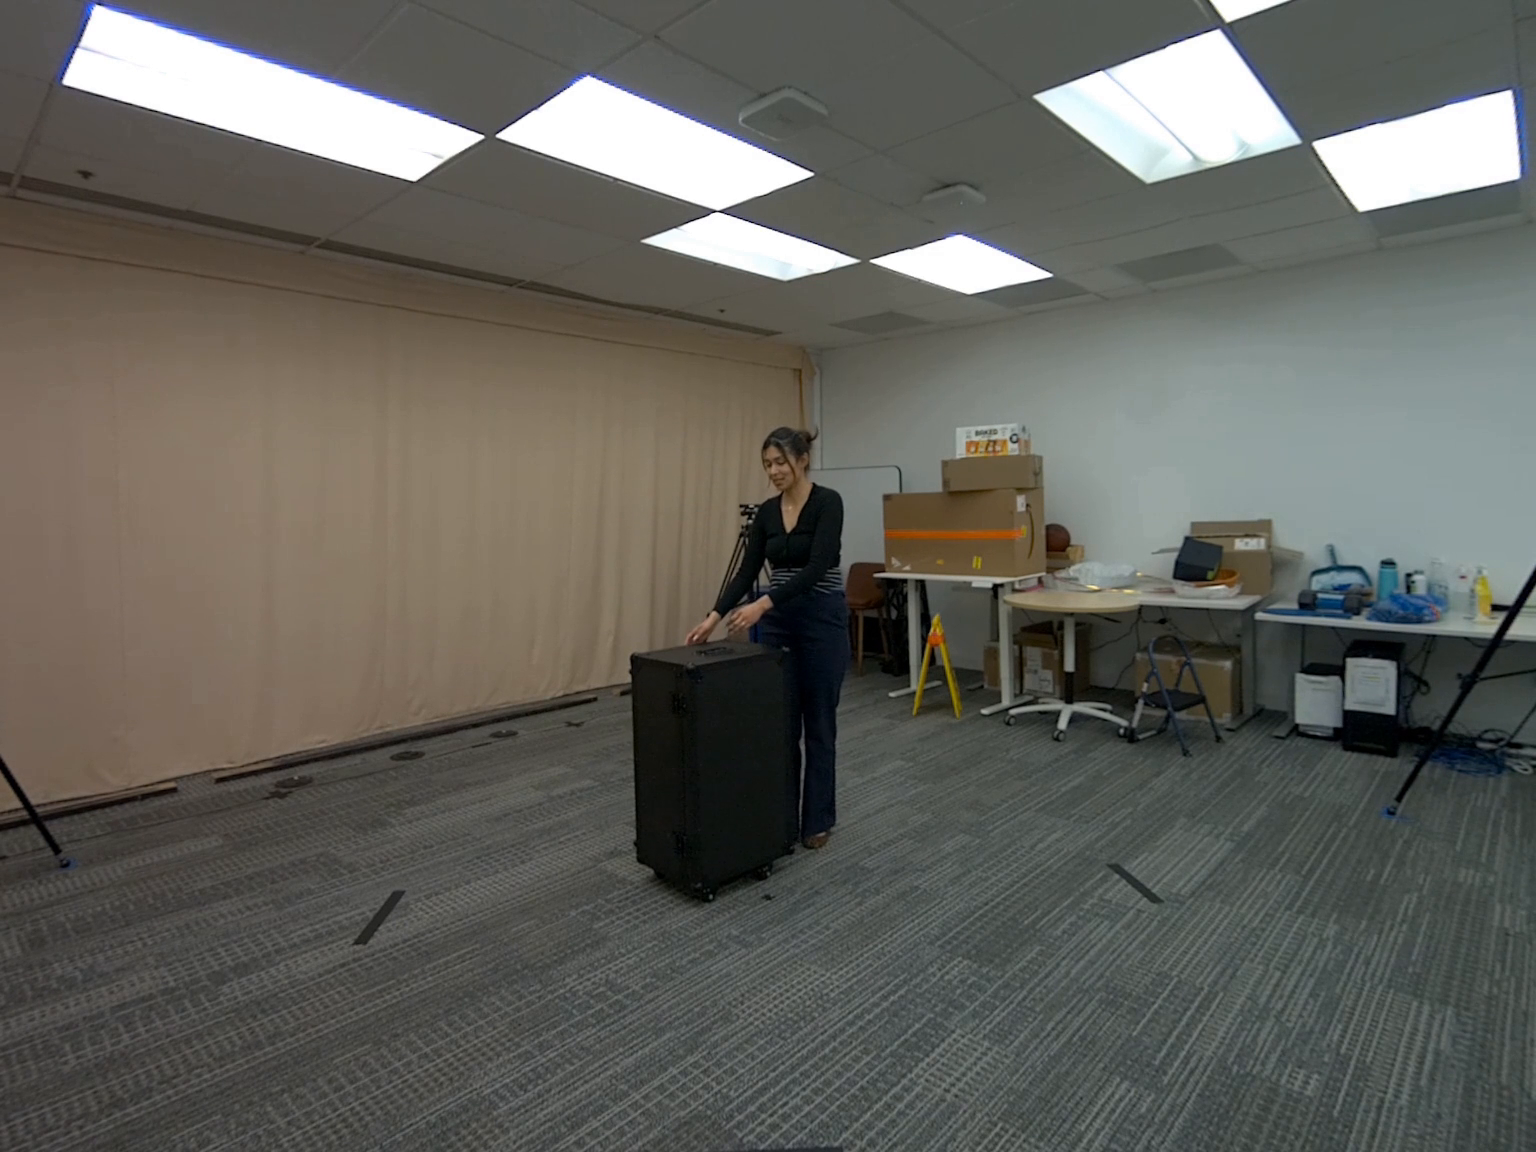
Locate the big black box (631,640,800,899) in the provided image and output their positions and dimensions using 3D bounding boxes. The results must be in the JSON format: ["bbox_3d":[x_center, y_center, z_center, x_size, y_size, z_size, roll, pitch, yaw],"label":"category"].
[{"bbox_3d":[-0.212,0.646,3.132,0.505,0.860,0.409,-5,4,-42],"label":"big black box"}]
